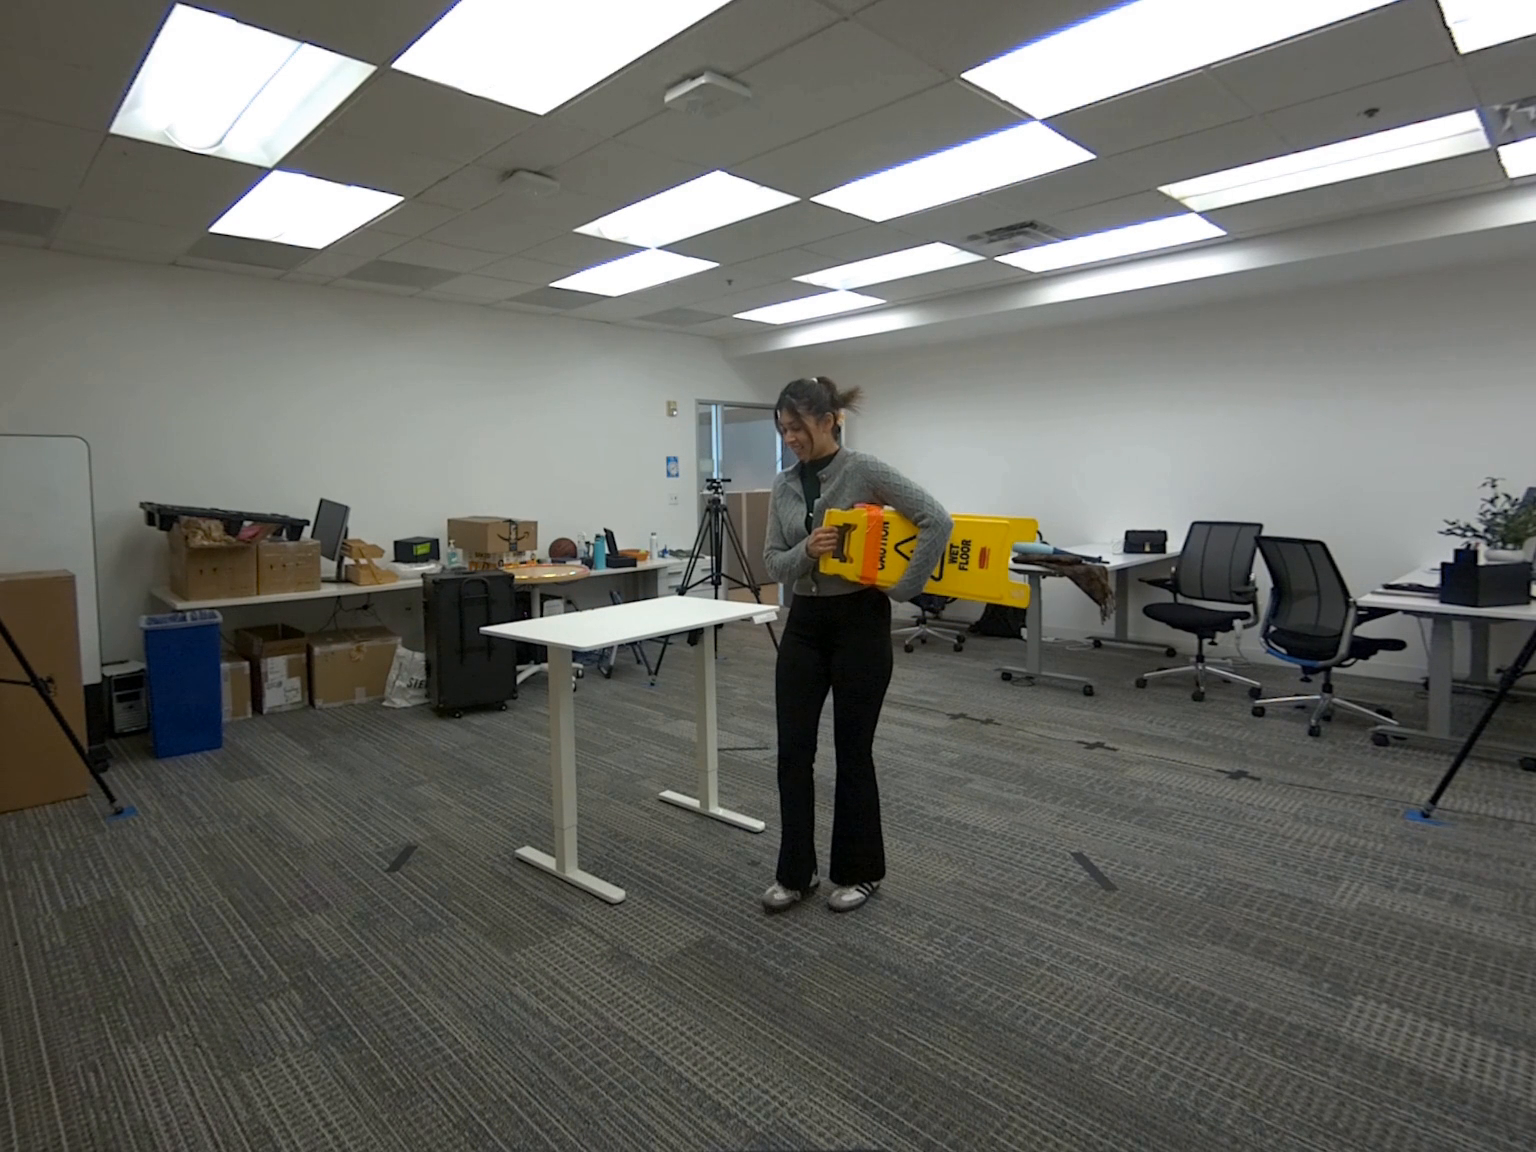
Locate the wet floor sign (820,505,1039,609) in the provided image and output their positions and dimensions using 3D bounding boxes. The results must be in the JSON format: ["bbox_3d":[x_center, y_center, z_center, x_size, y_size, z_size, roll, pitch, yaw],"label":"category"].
[{"bbox_3d":[0.462,-0.076,2.674,0.637,0.282,0.294,6,2,-13],"label":"wet floor sign"}]
